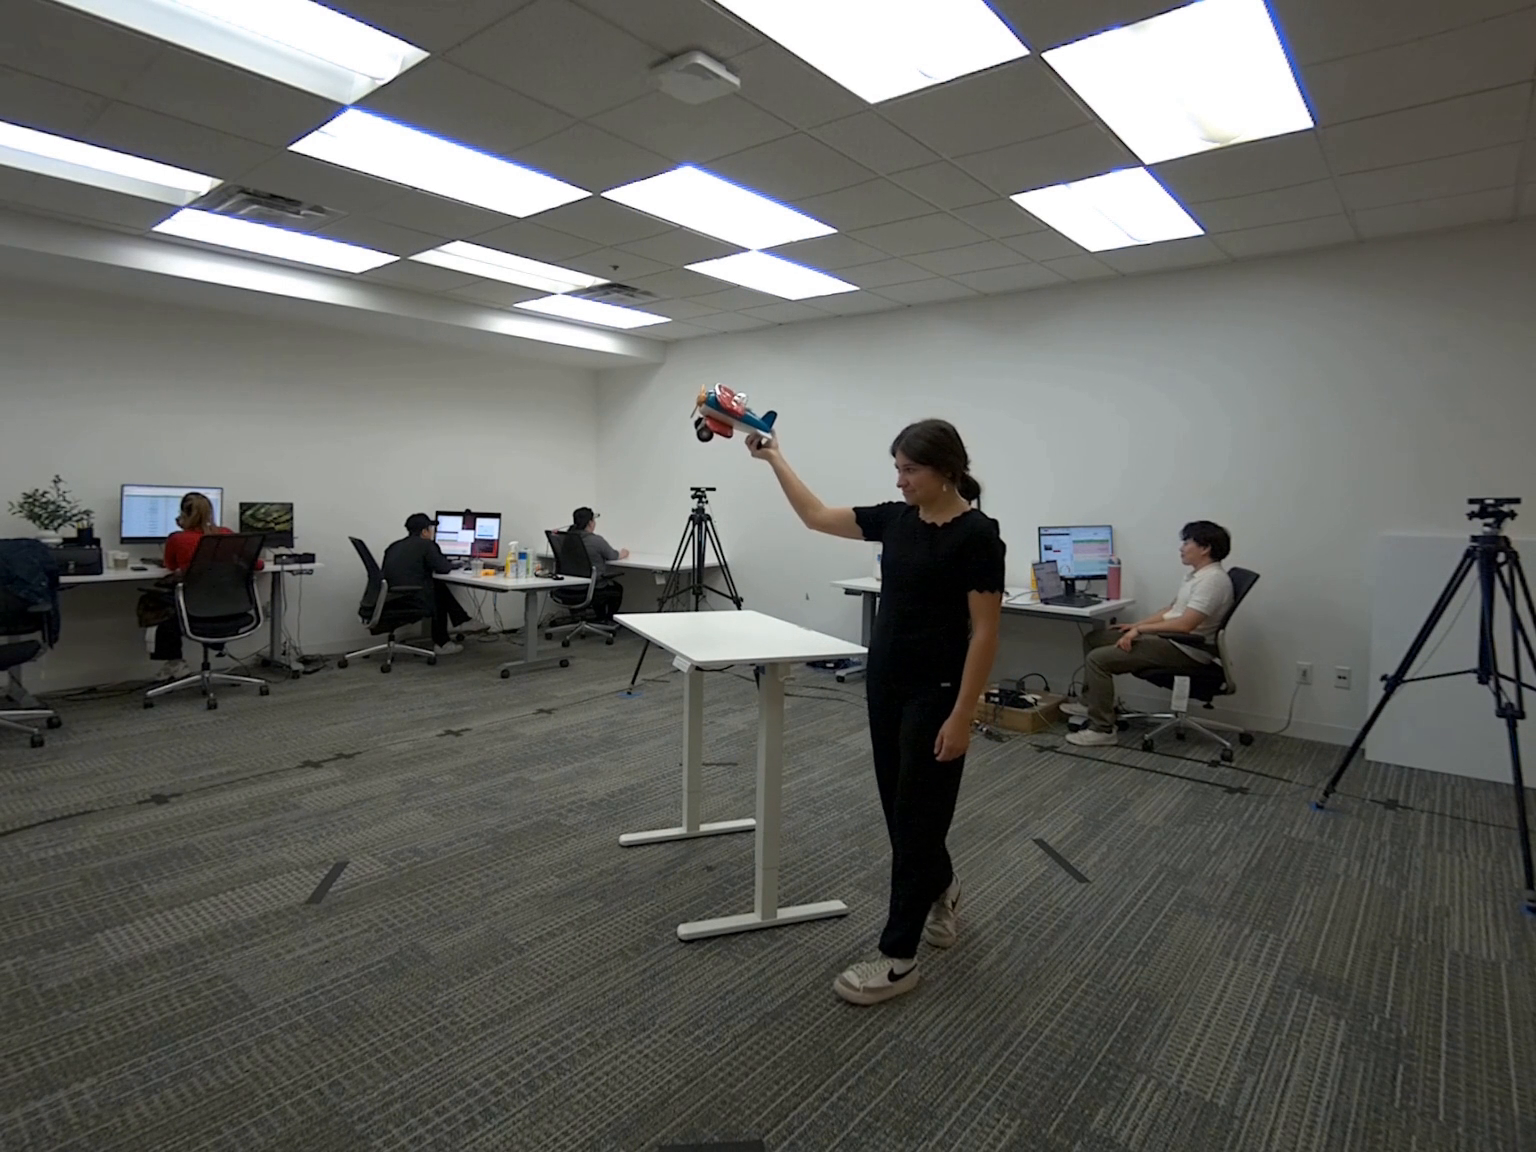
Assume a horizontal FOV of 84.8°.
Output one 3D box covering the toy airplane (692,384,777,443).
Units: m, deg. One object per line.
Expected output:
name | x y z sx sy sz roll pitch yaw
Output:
toy airplane | -0.122 -0.504 2.694 0.252 0.154 0.262 -5 32 -37
